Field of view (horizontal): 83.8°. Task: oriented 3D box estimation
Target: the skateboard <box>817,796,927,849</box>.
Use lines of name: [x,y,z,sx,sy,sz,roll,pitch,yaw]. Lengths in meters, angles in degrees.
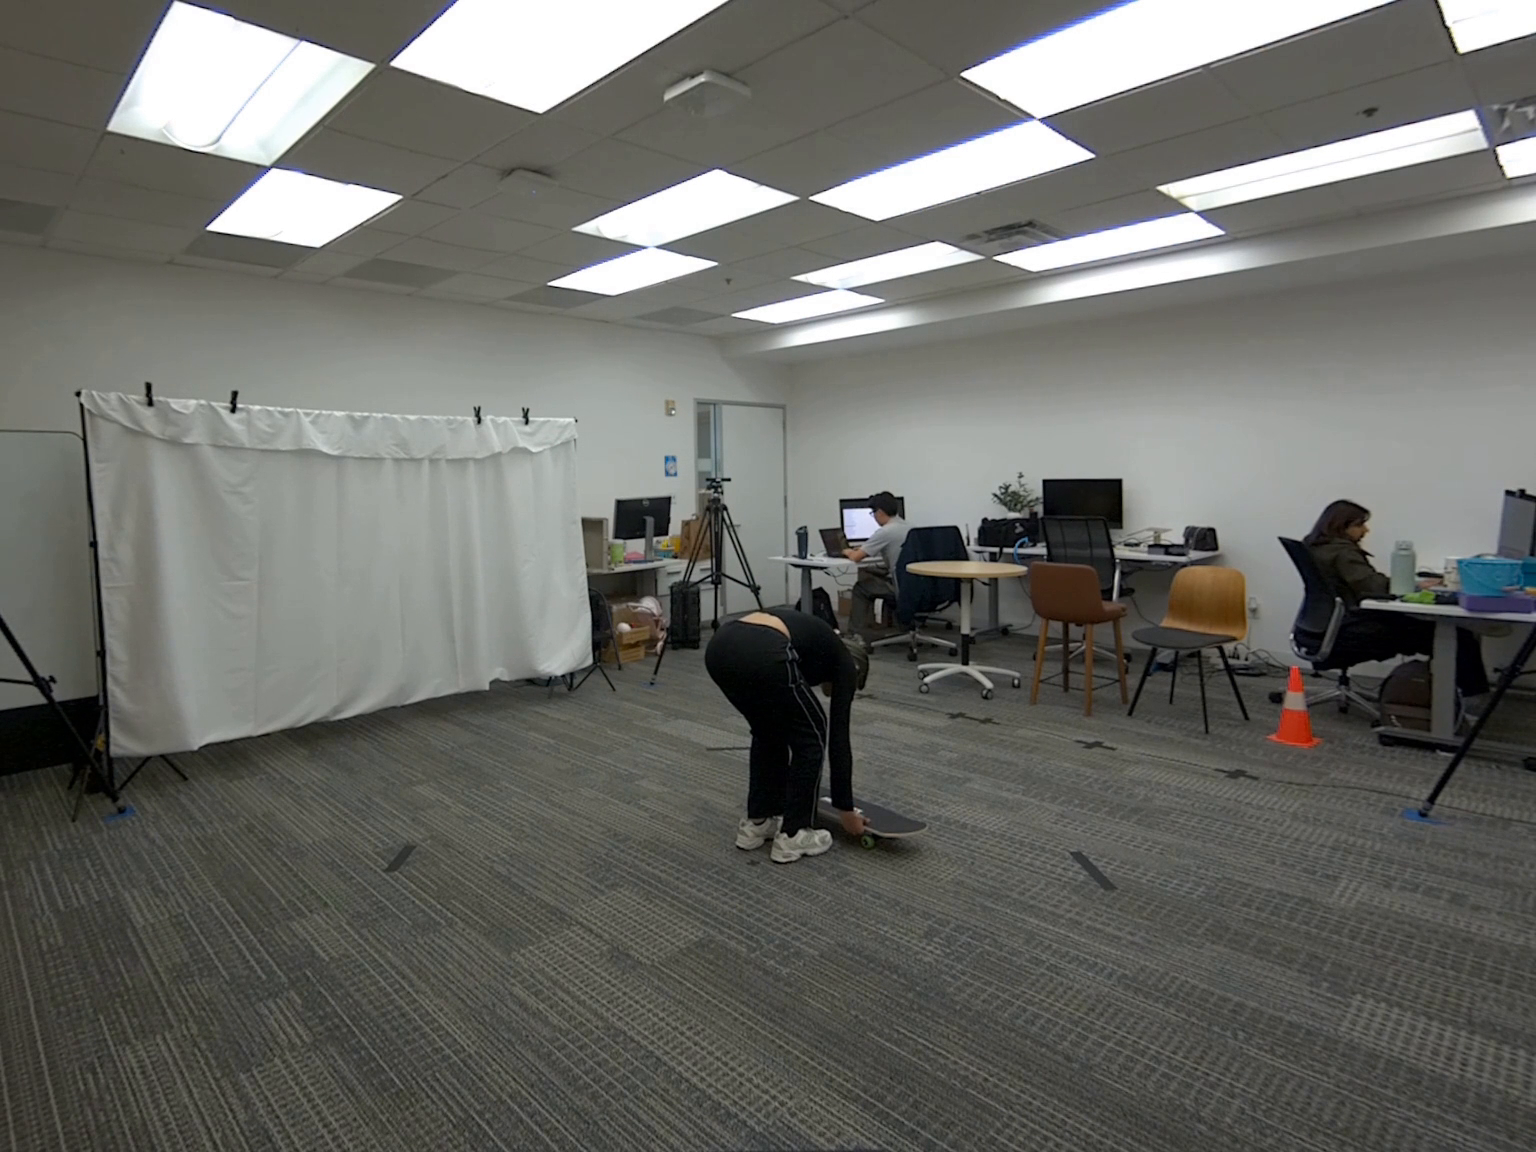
skateboard: [0.301,0.946,3.413,0.188,0.110,0.810,-5,8,-42]
